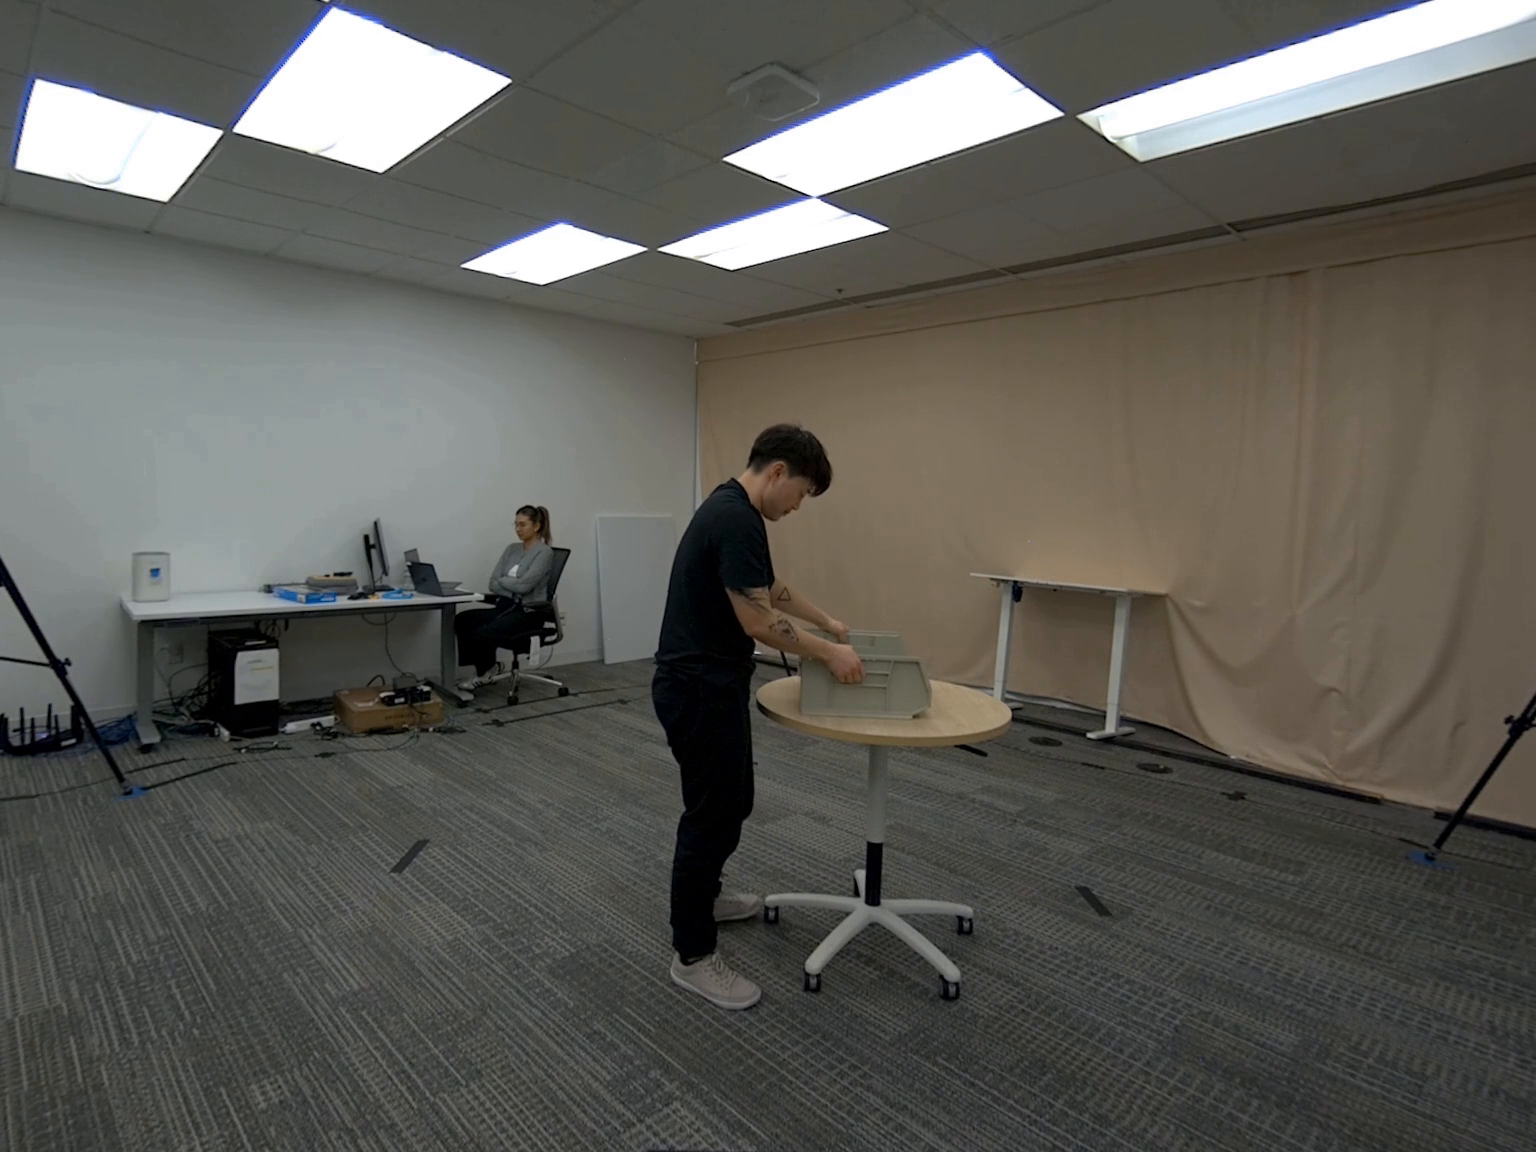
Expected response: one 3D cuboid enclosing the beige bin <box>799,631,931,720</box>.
[{"bbox_3d":[0.275,0.298,2.568,0.378,0.188,0.423,2,6,2],"label":"beige bin"}]
